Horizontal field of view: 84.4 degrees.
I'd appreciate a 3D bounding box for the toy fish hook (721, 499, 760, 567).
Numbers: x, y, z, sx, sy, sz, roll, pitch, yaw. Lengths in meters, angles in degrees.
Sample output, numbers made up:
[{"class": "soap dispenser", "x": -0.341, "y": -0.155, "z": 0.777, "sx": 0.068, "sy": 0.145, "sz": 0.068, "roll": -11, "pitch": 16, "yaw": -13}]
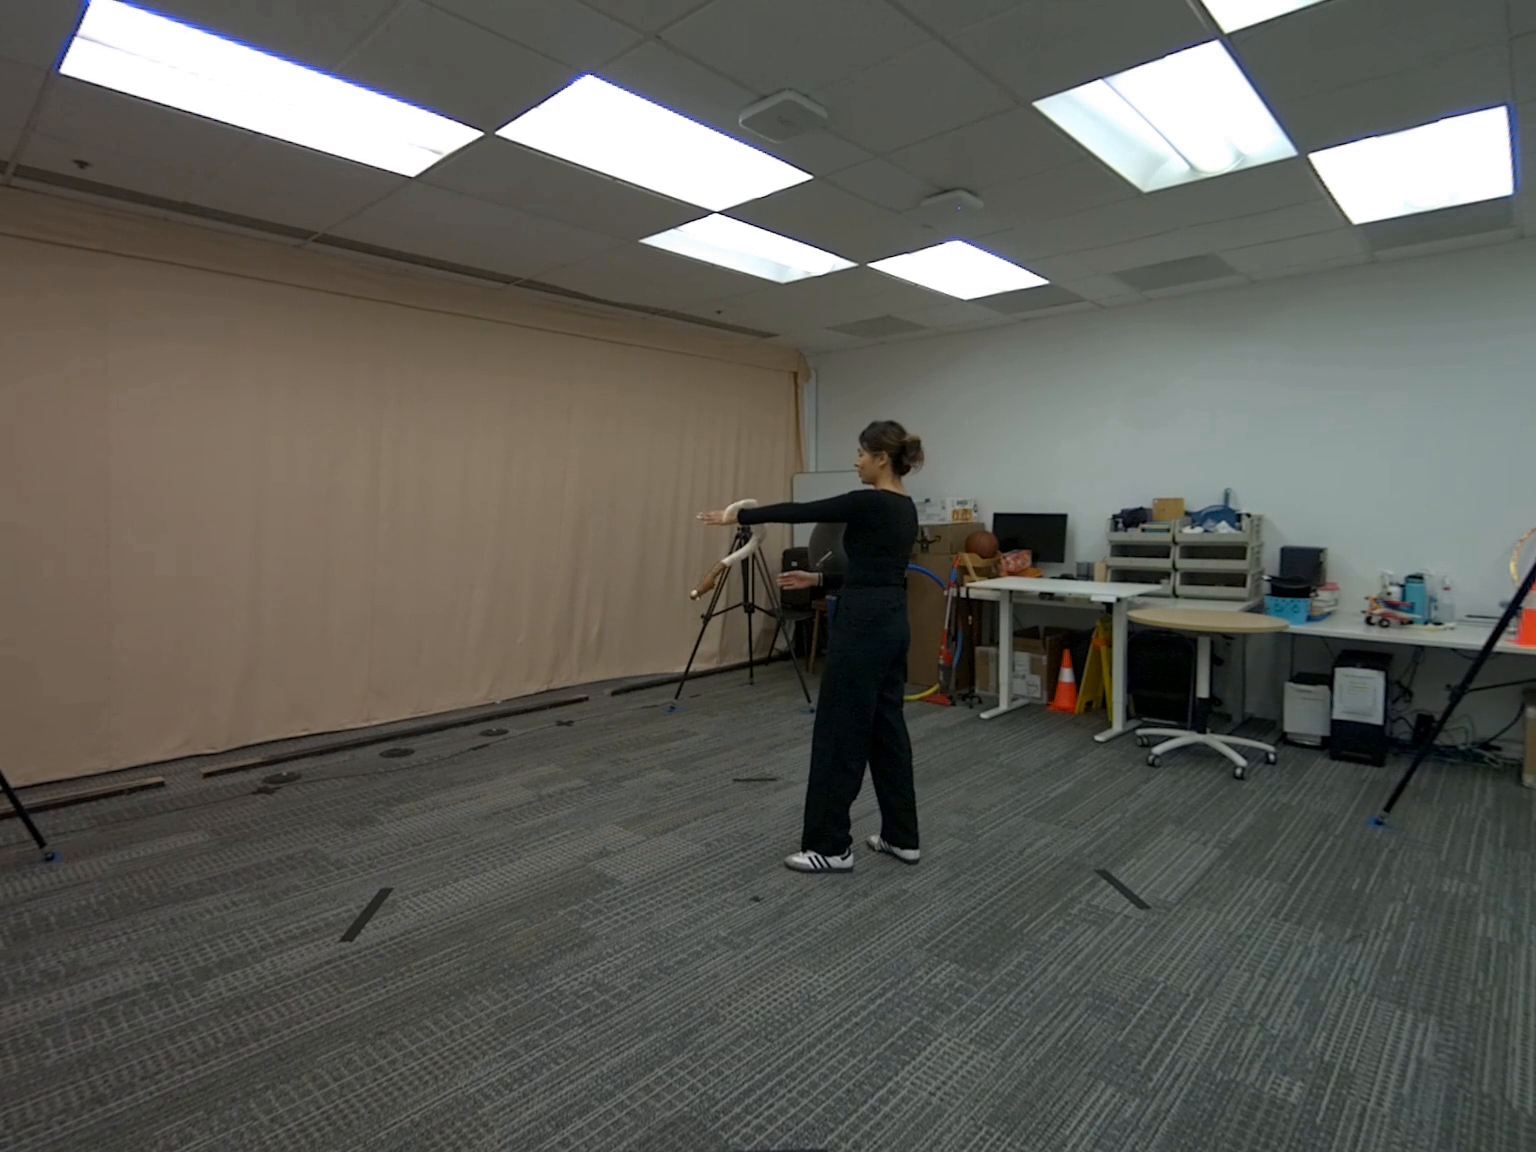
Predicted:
[{"class": "toy fish hook", "x": -0.158, "y": -0.112, "z": 3.337, "sx": 0.049, "sy": 0.220, "sz": 0.503, "roll": -9, "pitch": 33, "yaw": 51}]
